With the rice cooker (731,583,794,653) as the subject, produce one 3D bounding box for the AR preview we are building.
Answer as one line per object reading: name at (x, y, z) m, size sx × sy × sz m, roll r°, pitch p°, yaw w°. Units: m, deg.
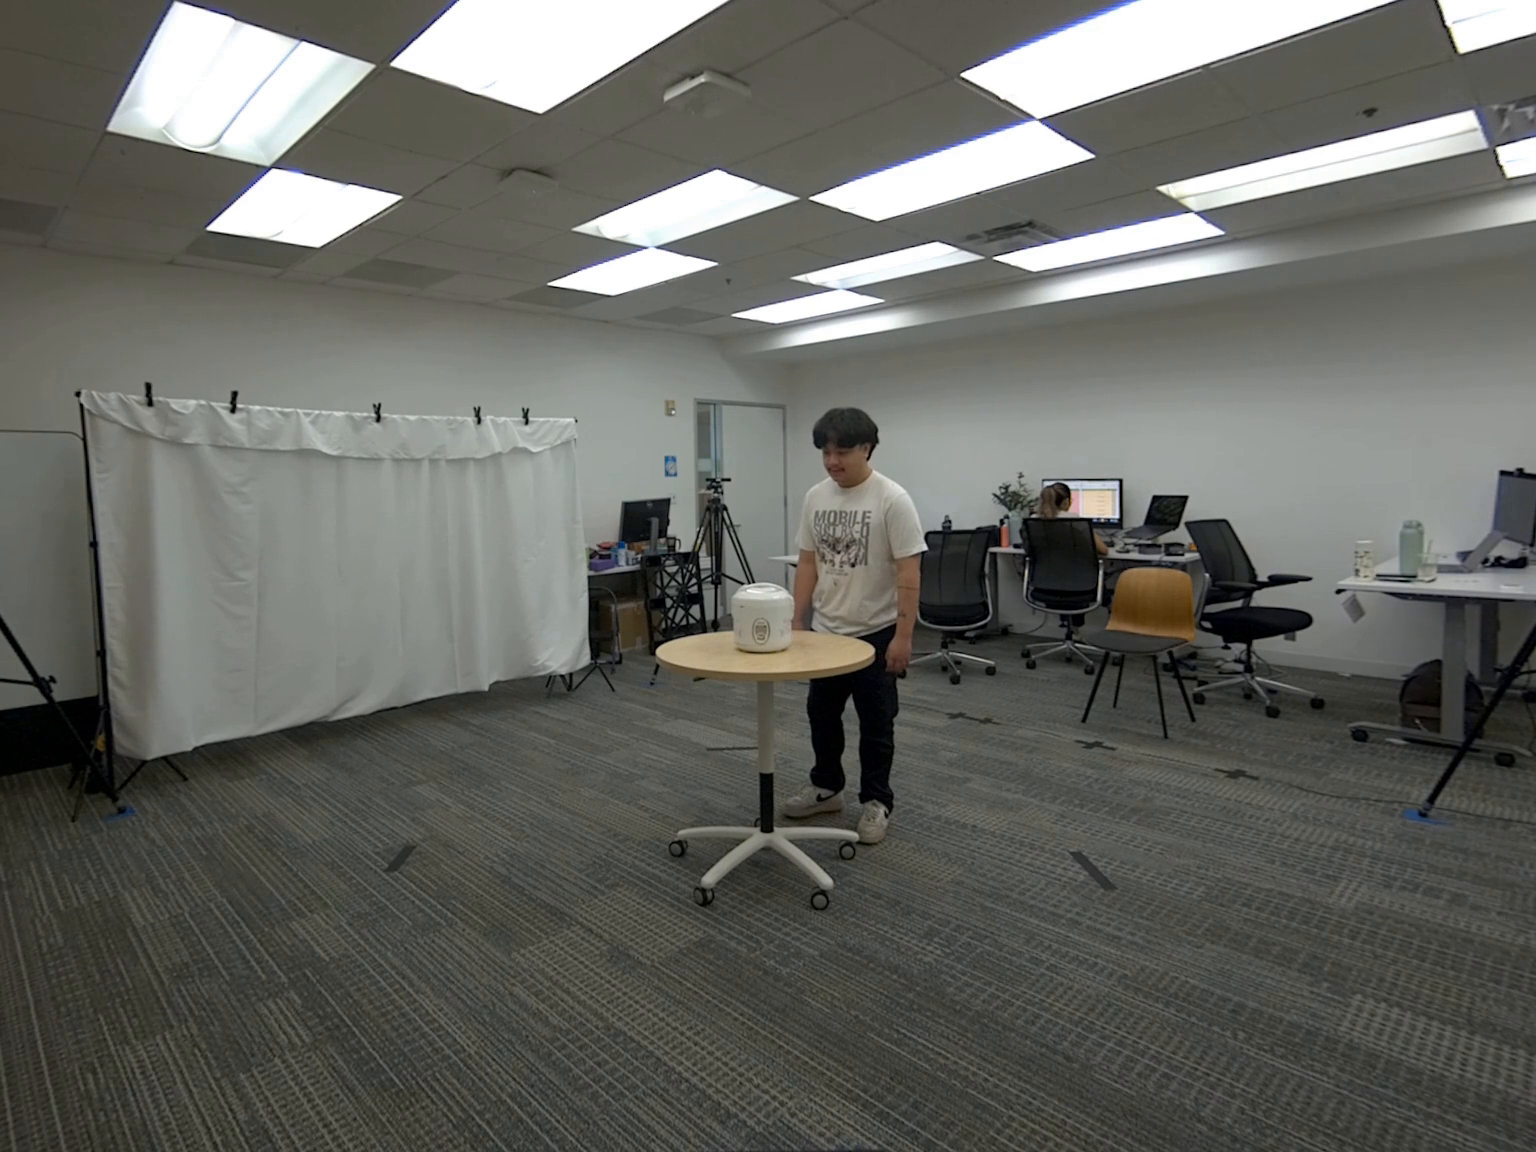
rice cooker at (-0.014, 0.139, 2.998) m, size 0.221 × 0.232 × 0.217 m, roll -1°, pitch 5°, yaw 3°
